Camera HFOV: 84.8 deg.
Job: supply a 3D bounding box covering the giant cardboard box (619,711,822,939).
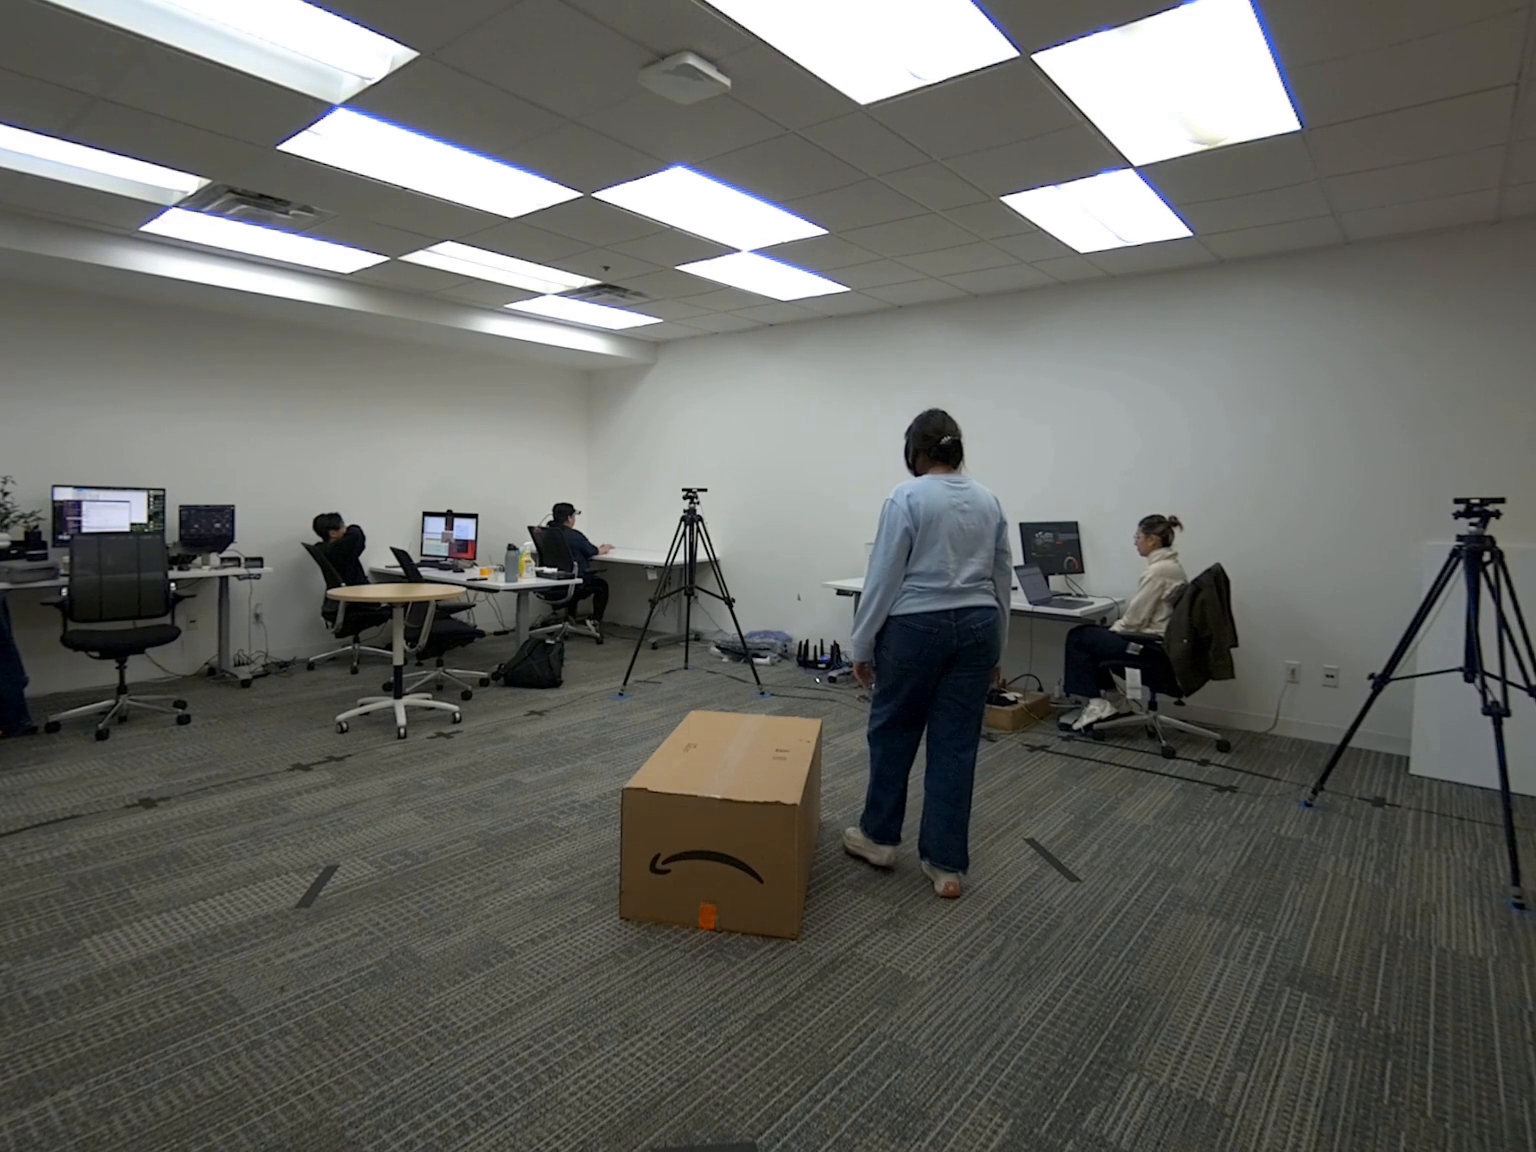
[{"bbox_3d":[-0.133,0.847,3.163,0.584,0.425,1.018,2,5,9],"label":"giant cardboard box"}]
